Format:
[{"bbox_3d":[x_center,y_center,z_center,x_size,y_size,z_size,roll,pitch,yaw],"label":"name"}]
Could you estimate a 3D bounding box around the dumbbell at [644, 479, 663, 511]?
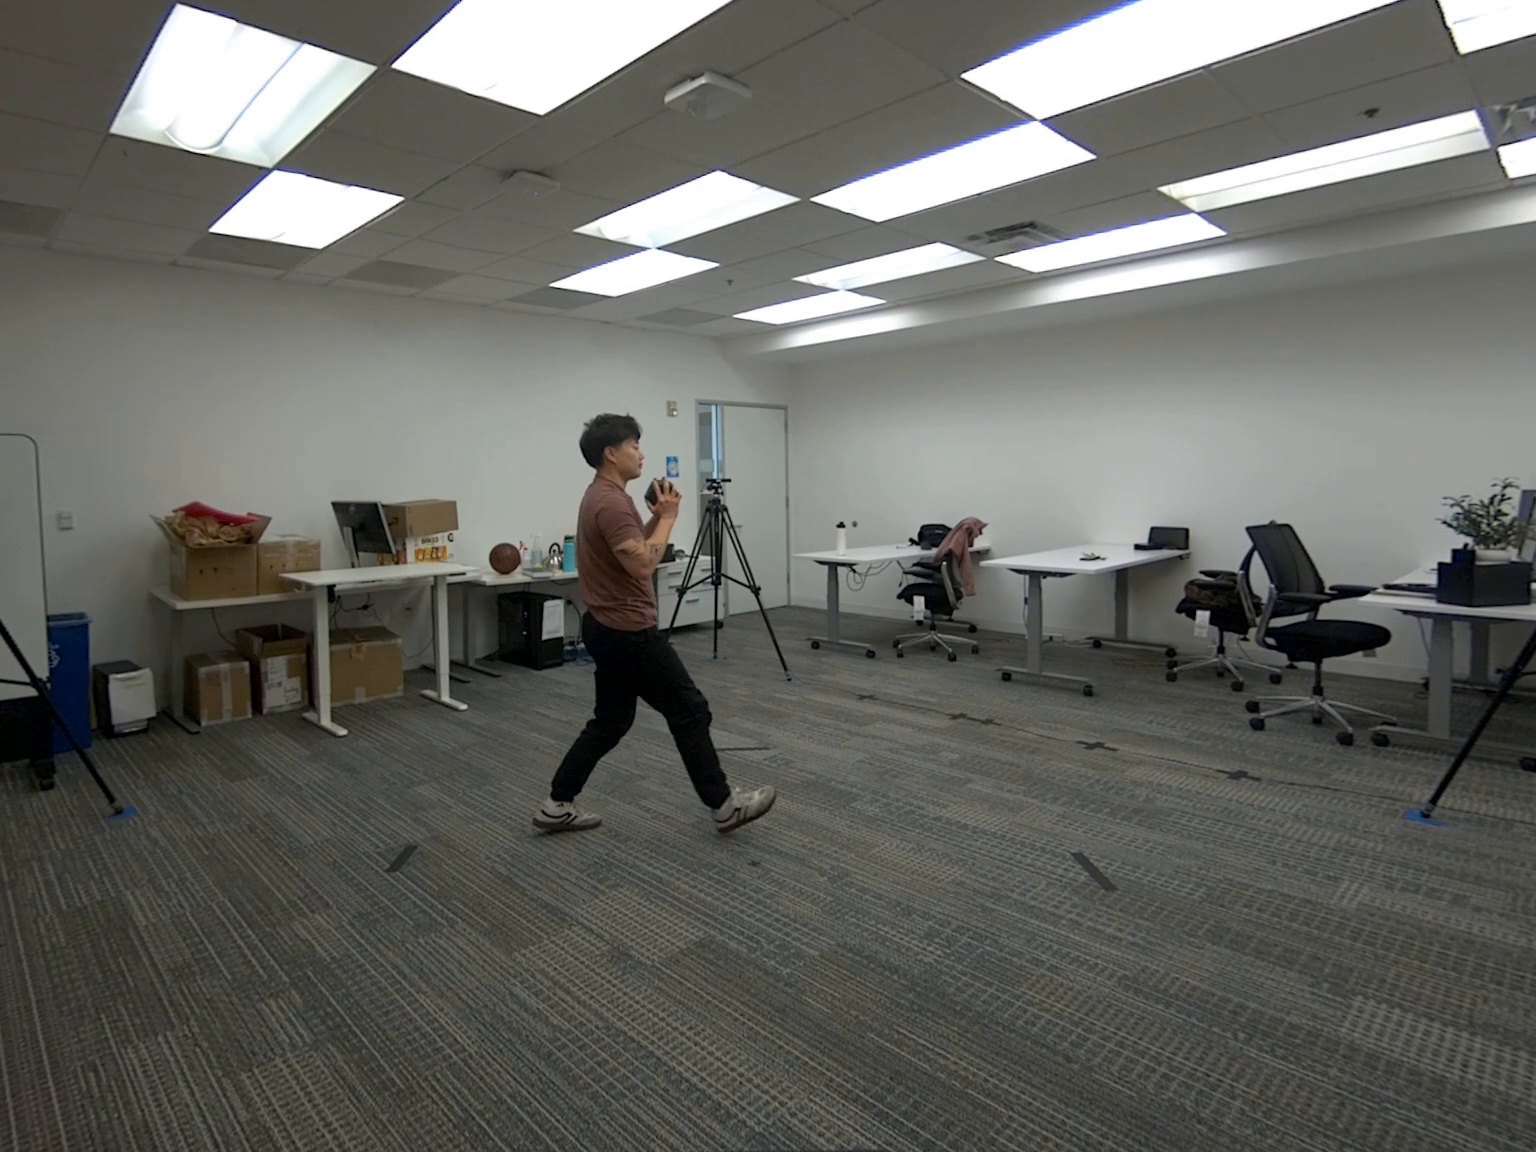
[{"bbox_3d":[-0.432,-0.308,3.361,0.122,0.108,0.297,-6,8,-5],"label":"dumbbell"}]
